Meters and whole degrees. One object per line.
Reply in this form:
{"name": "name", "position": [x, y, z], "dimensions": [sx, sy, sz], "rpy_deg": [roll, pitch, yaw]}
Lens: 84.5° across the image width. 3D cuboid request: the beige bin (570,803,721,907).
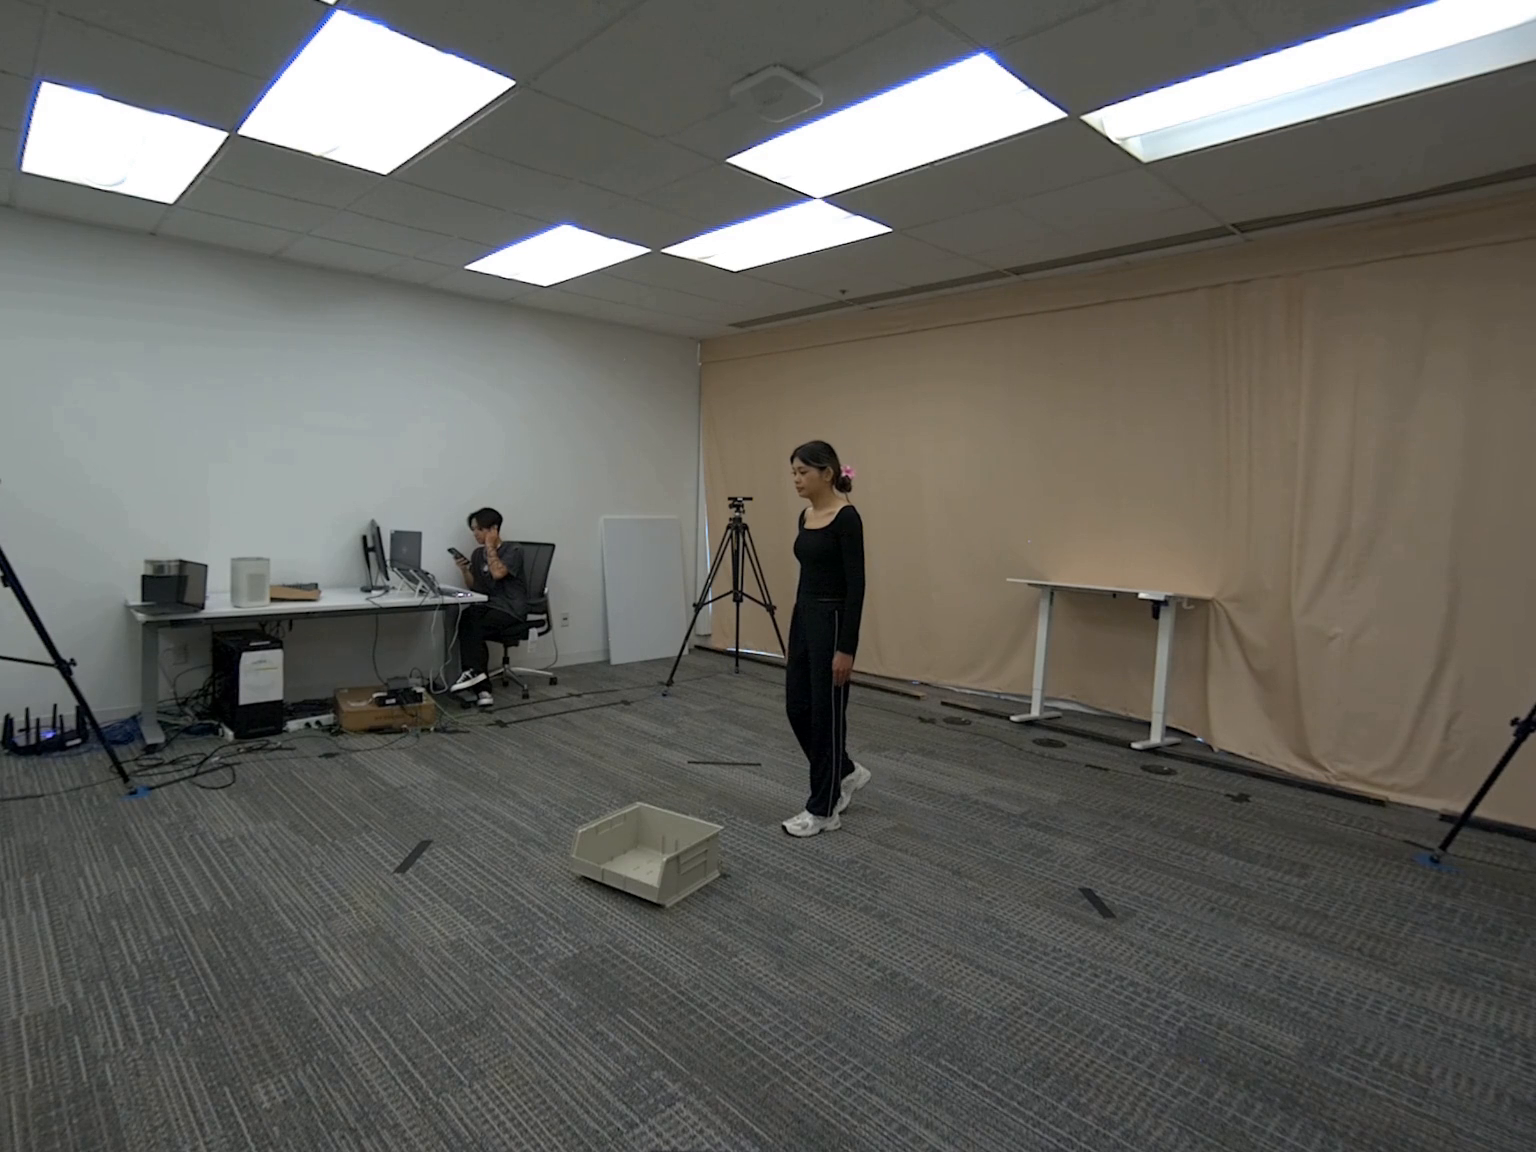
{"name": "beige bin", "position": [-0.446, 1.016, 3.074], "dimensions": [0.432, 0.188, 0.369], "rpy_deg": [4, 5, 33]}
